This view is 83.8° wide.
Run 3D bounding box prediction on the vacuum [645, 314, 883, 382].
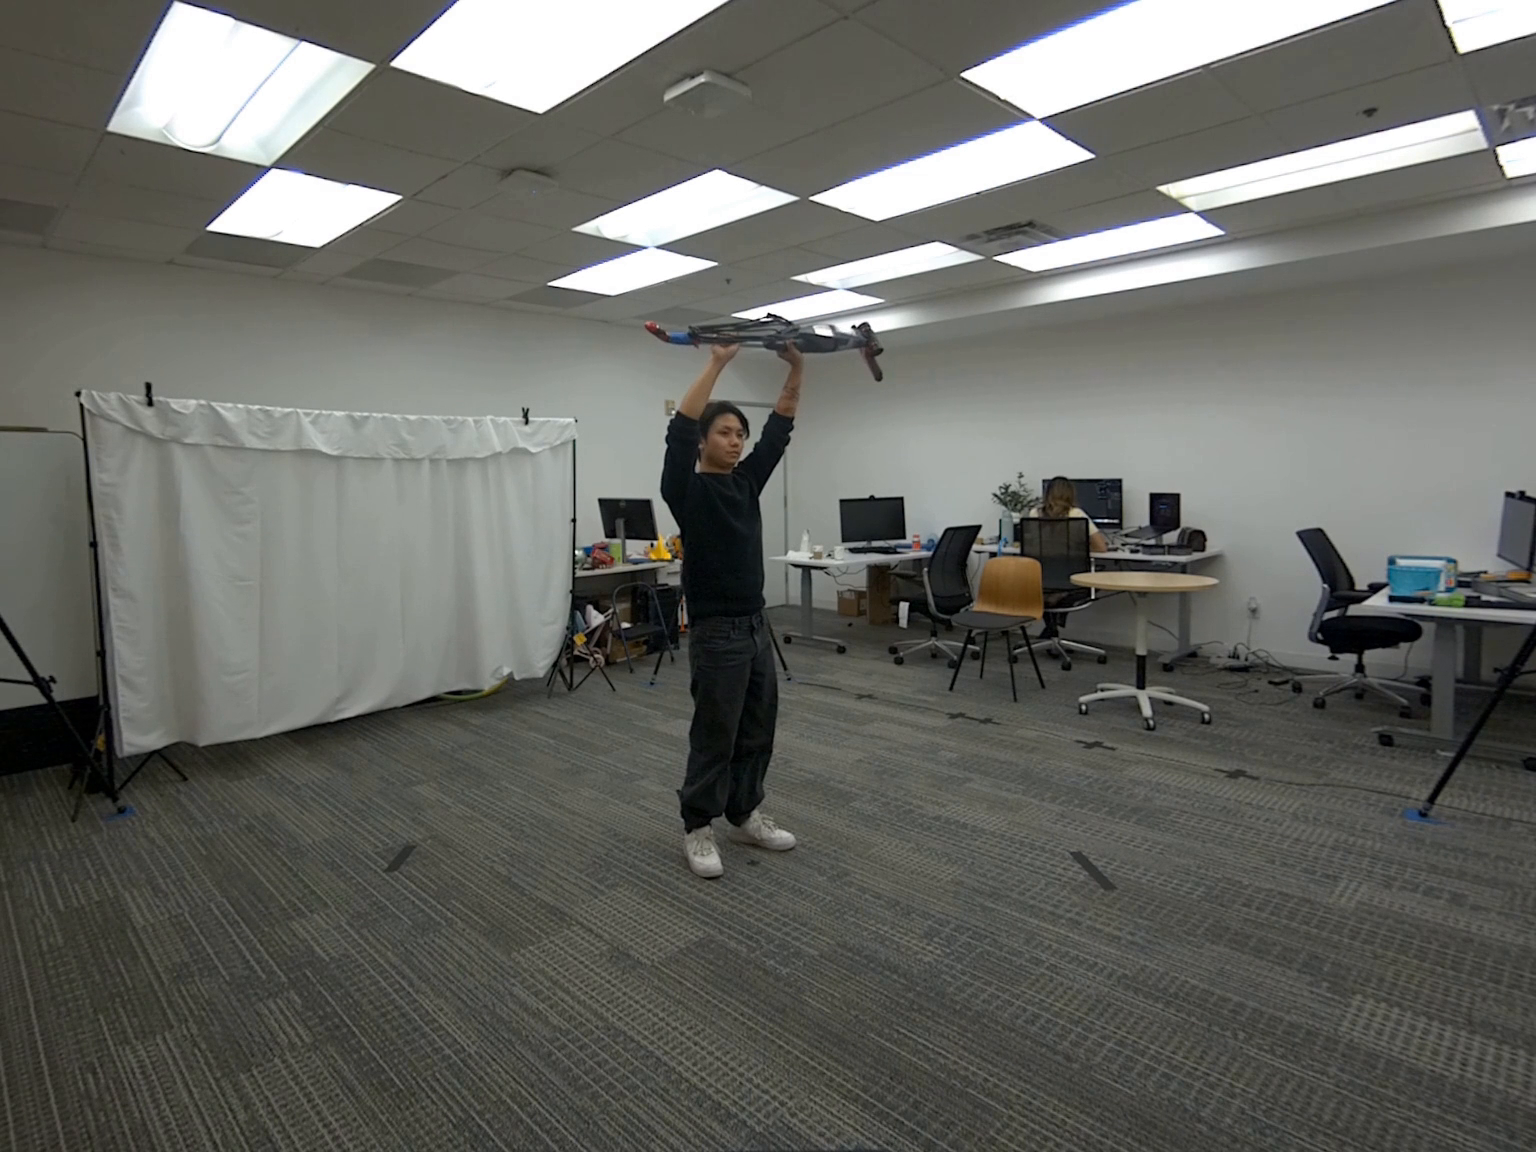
[{"bbox_3d":[0.021,-0.834,2.976,1.023,0.258,0.144,-8,-24,-42],"label":"vacuum"}]
